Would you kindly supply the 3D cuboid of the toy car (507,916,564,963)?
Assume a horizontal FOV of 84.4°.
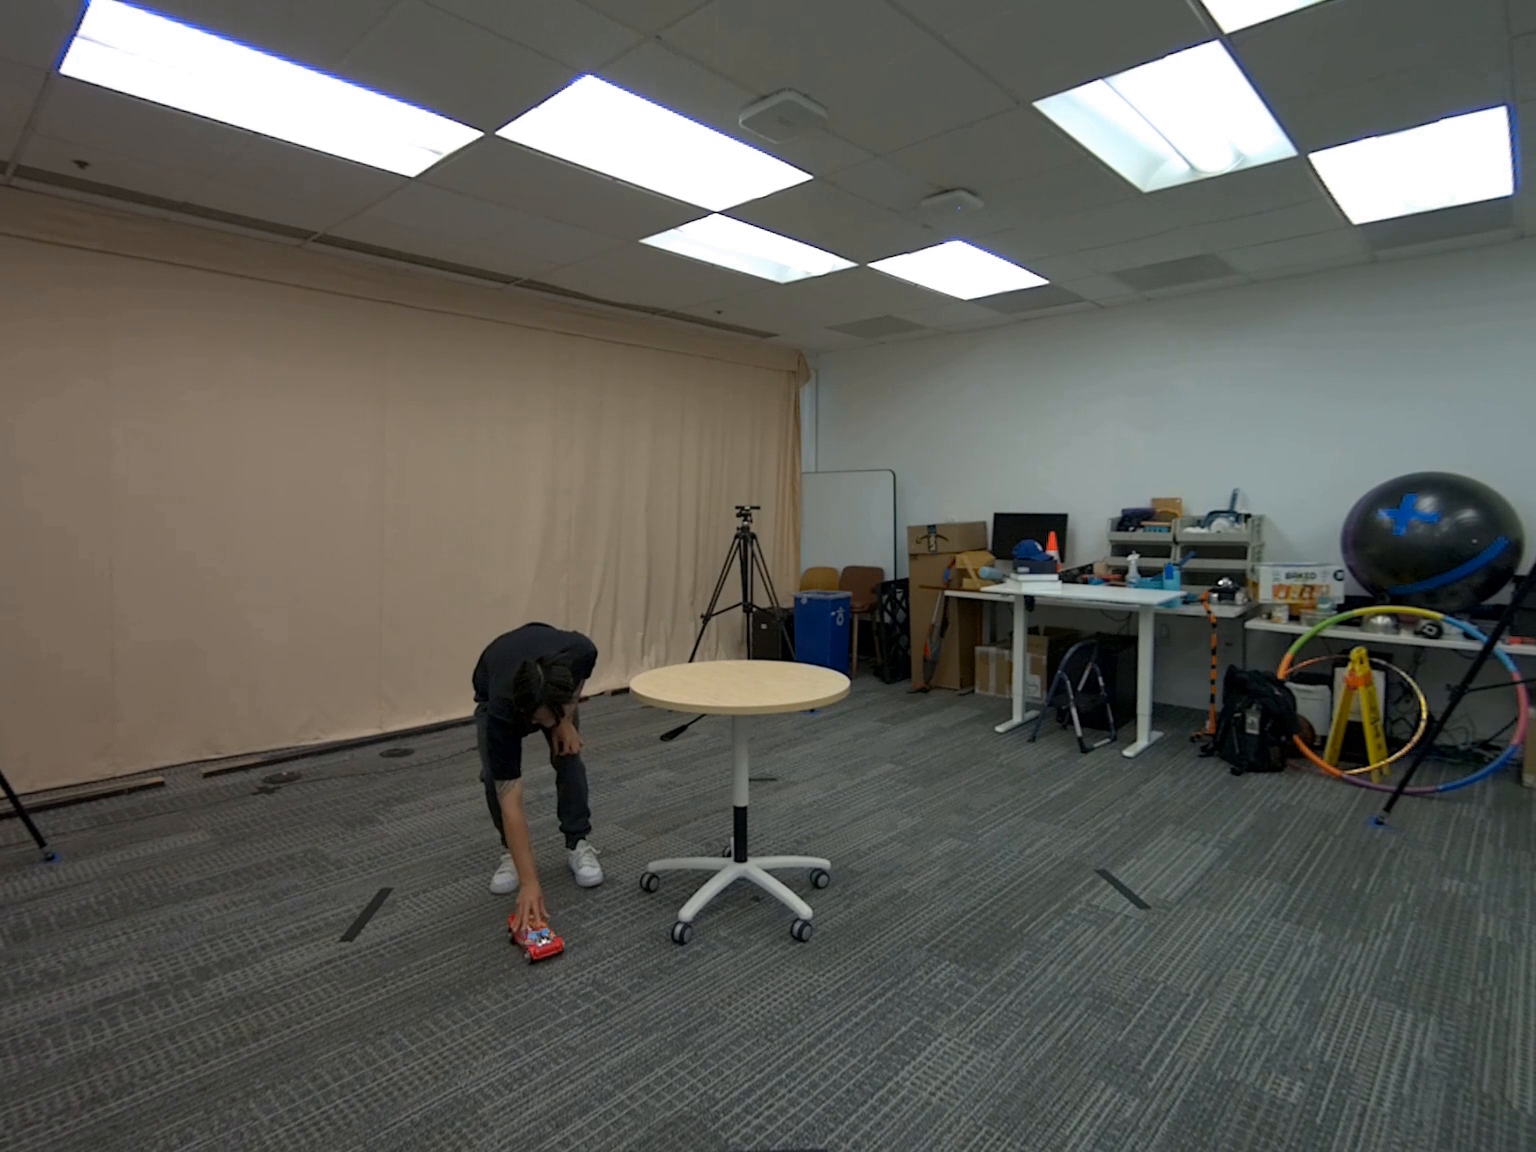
[{"bbox_3d":[-0.749,1.147,2.671,0.126,0.082,0.264,-6,17,-35],"label":"toy car"}]
